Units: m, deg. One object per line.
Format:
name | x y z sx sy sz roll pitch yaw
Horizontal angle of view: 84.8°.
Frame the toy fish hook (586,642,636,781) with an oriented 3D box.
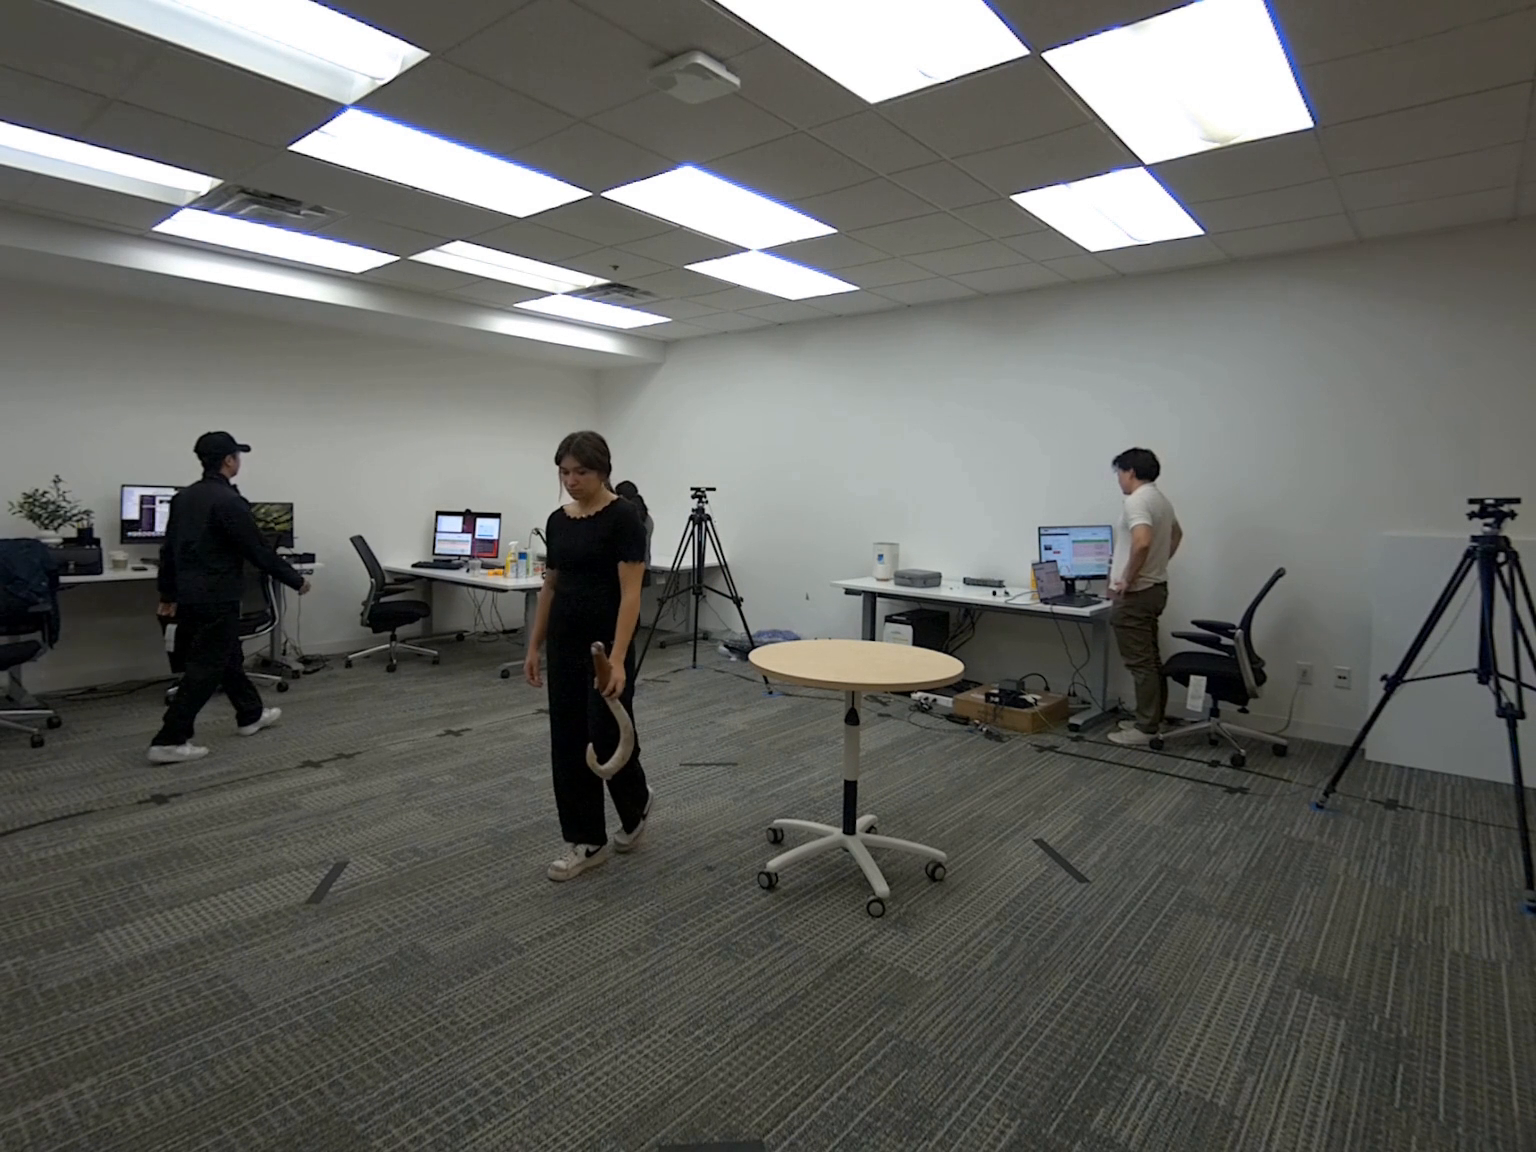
toy fish hook | -0.572 0.448 2.825 0.050 0.492 0.224 6 33 29
